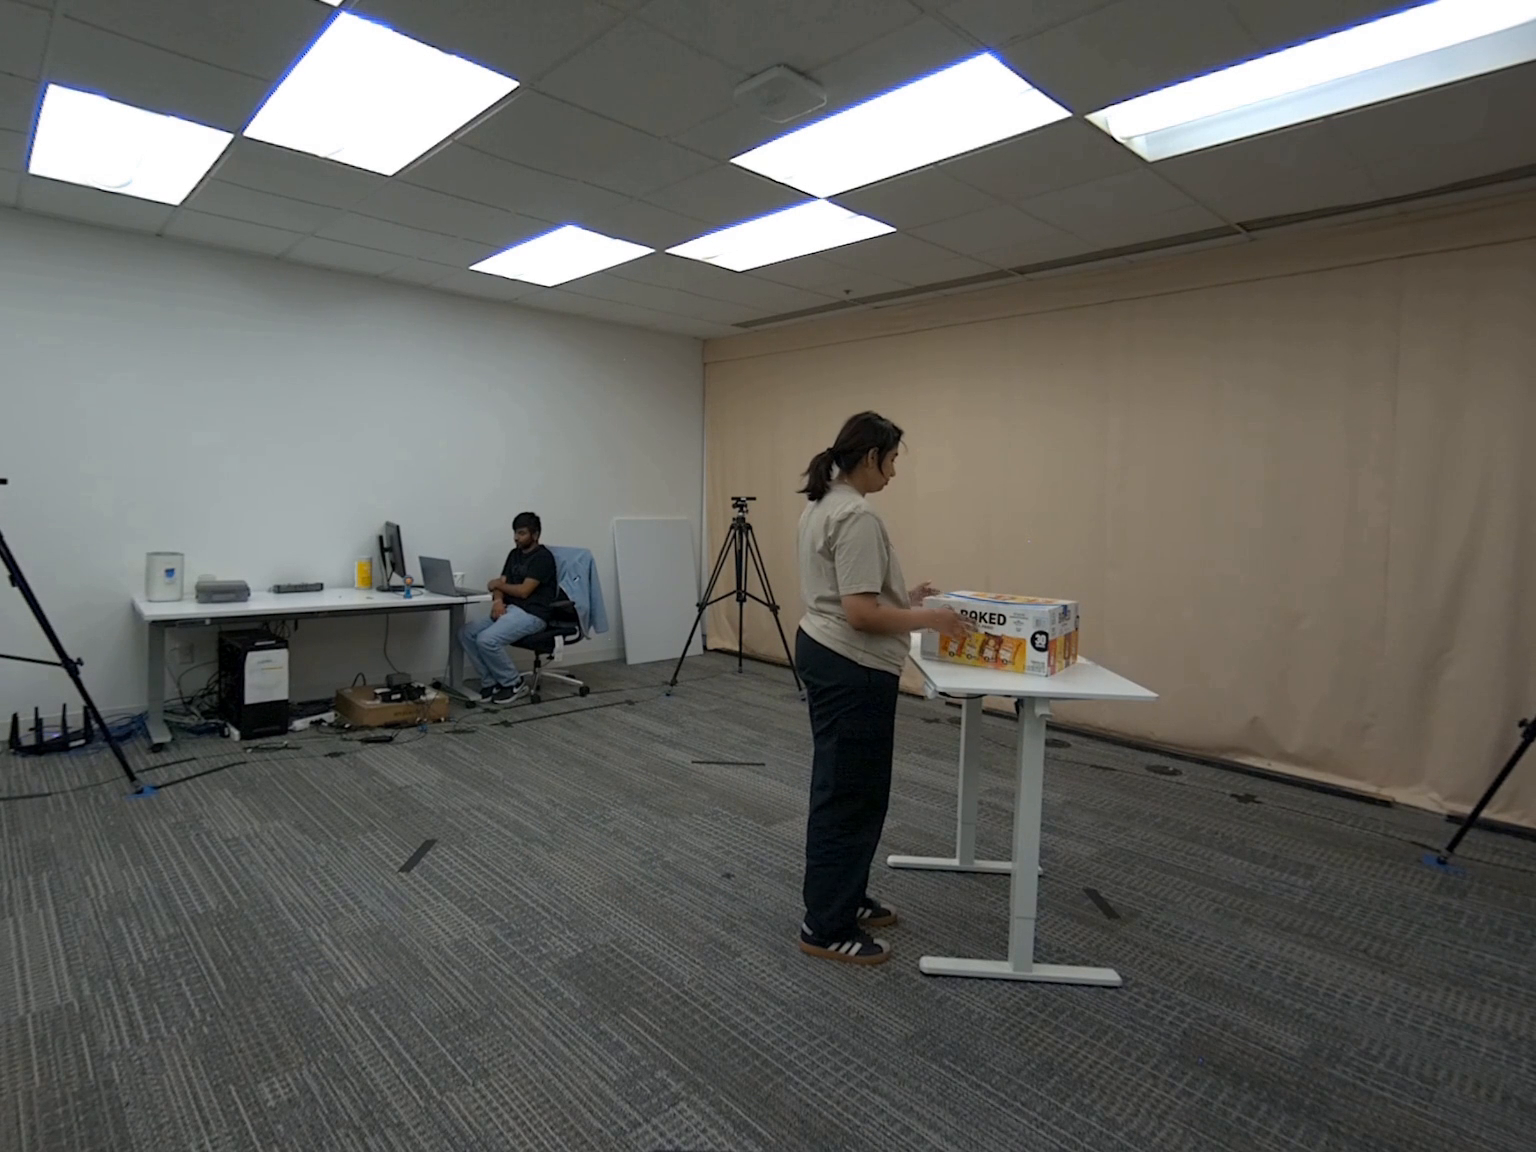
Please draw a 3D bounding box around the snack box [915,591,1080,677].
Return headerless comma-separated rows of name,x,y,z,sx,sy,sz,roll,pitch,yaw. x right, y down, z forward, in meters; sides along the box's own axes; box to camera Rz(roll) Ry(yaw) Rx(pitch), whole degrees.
snack box,0.756,0.178,2.762,0.415,0.205,0.333,5,5,35
